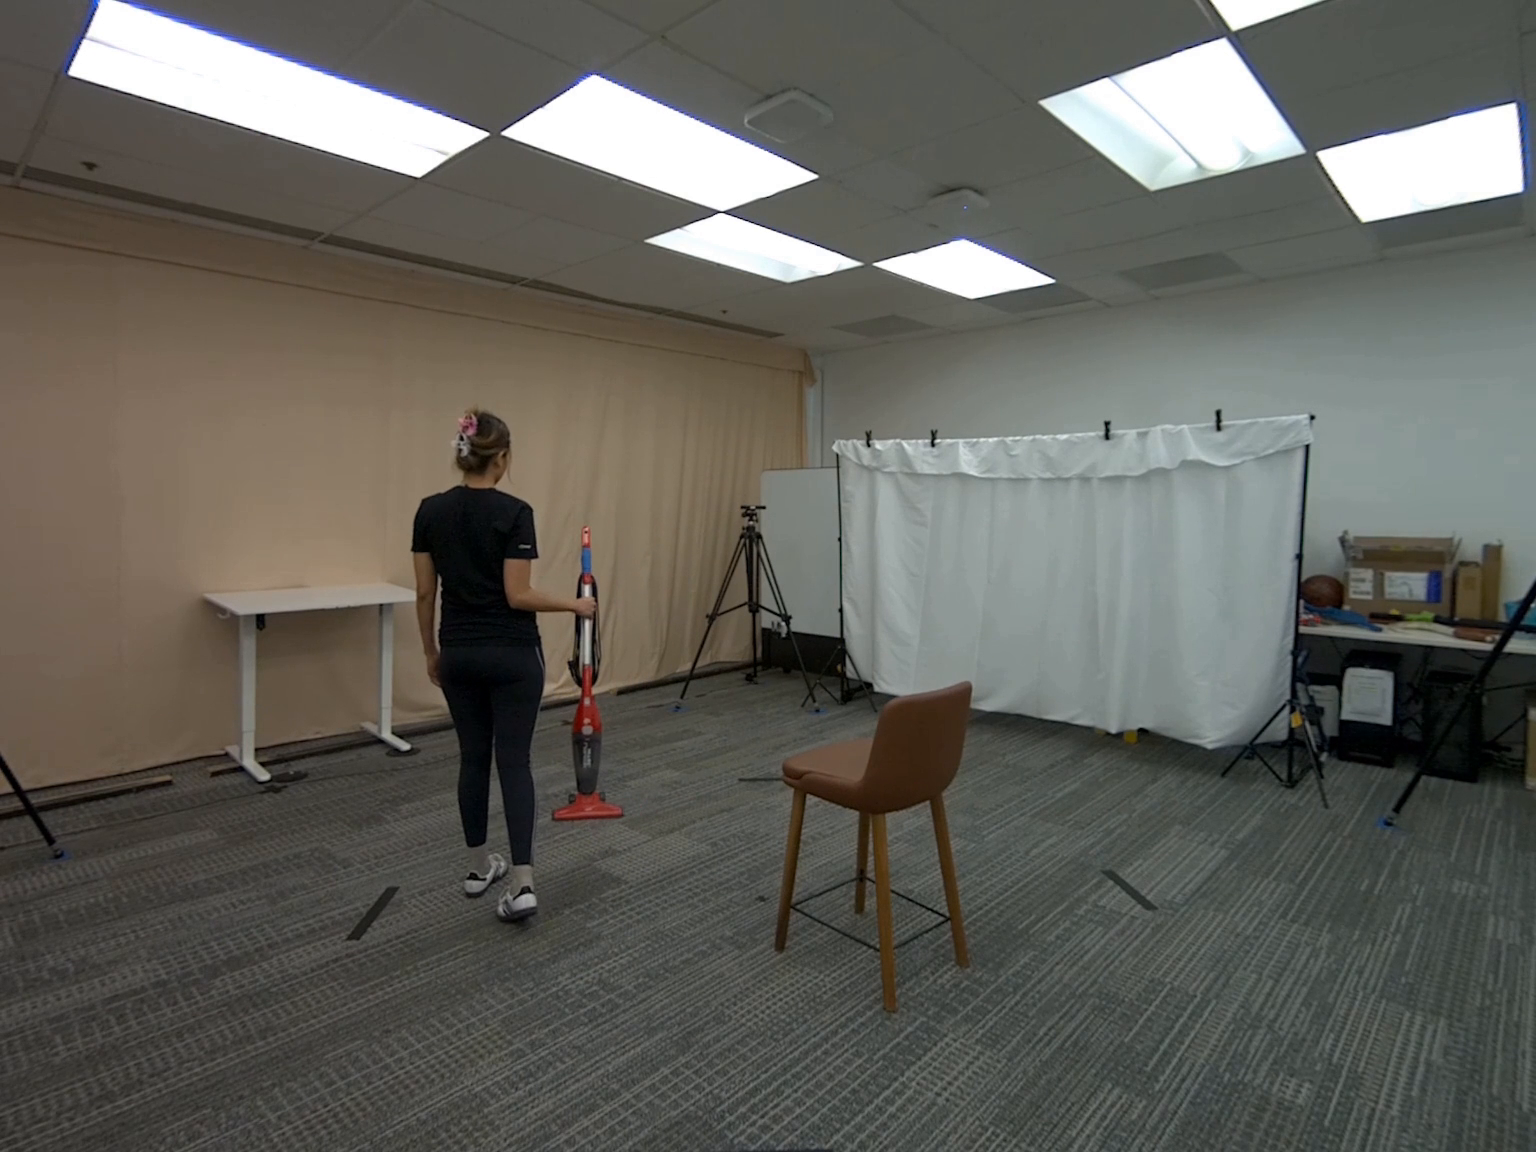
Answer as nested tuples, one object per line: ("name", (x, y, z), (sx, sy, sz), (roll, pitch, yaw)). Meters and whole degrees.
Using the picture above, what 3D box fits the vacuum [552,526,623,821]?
("vacuum", (-0.680, 0.330, 3.134), (0.248, 1.059, 0.145), (0, -14, -17))
